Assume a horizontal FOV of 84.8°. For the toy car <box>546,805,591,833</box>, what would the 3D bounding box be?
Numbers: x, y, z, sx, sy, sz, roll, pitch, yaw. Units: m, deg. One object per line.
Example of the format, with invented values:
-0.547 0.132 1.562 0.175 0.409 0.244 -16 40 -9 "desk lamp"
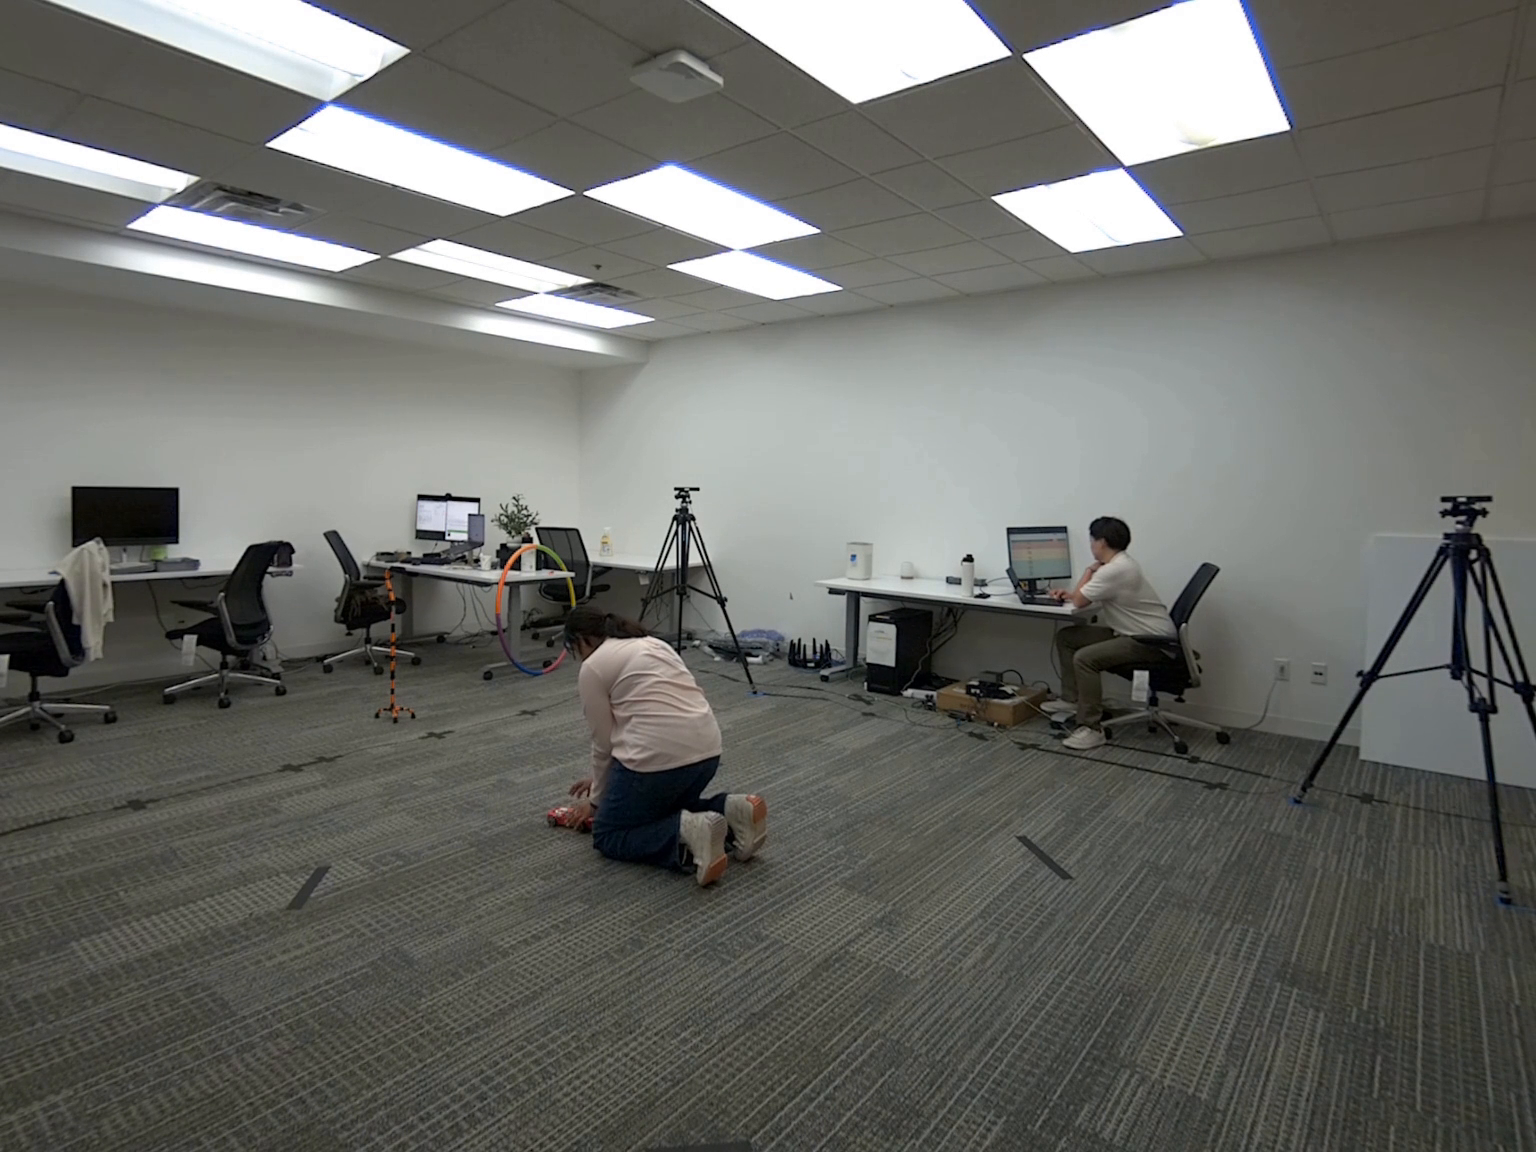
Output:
-0.795 0.988 3.494 0.259 0.083 0.128 -9 2 21 "toy car"
